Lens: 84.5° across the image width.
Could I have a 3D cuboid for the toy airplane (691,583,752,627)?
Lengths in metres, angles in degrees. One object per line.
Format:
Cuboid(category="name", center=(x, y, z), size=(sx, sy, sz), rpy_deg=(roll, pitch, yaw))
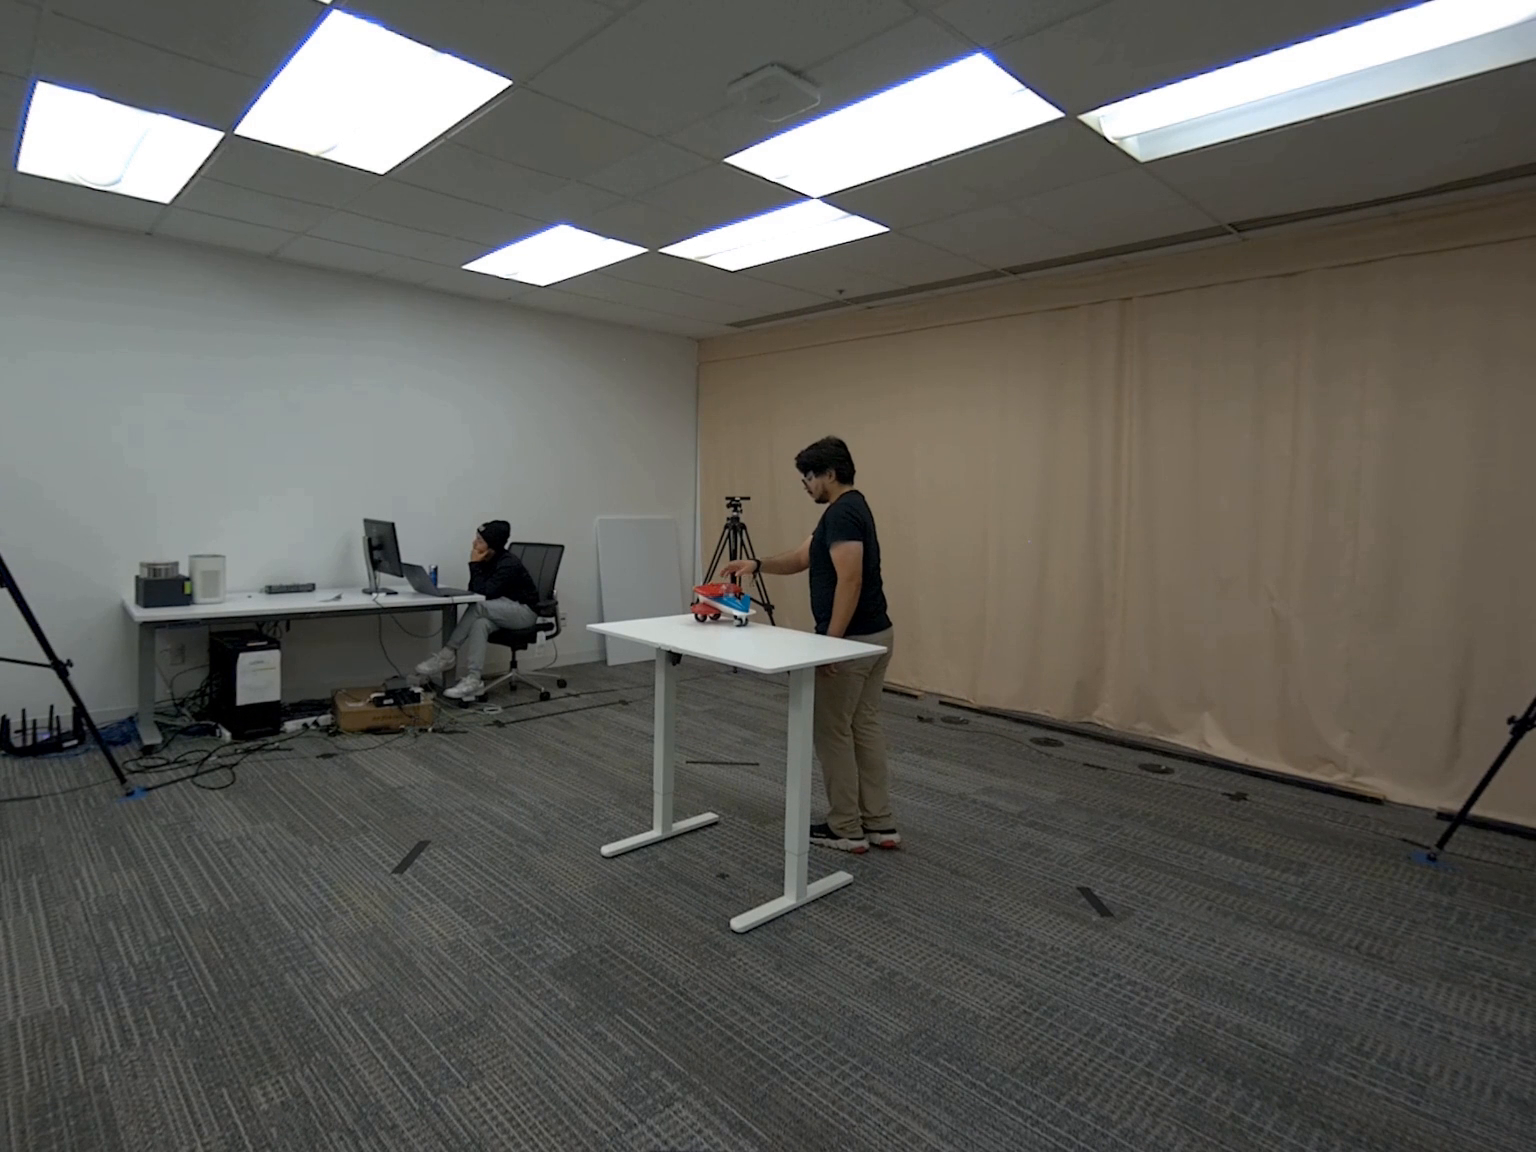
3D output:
Cuboid(category="toy airplane", center=(-0.175, 0.112, 3.412), size=(0.261, 0.156, 0.250), rpy_deg=(1, 6, 10))
